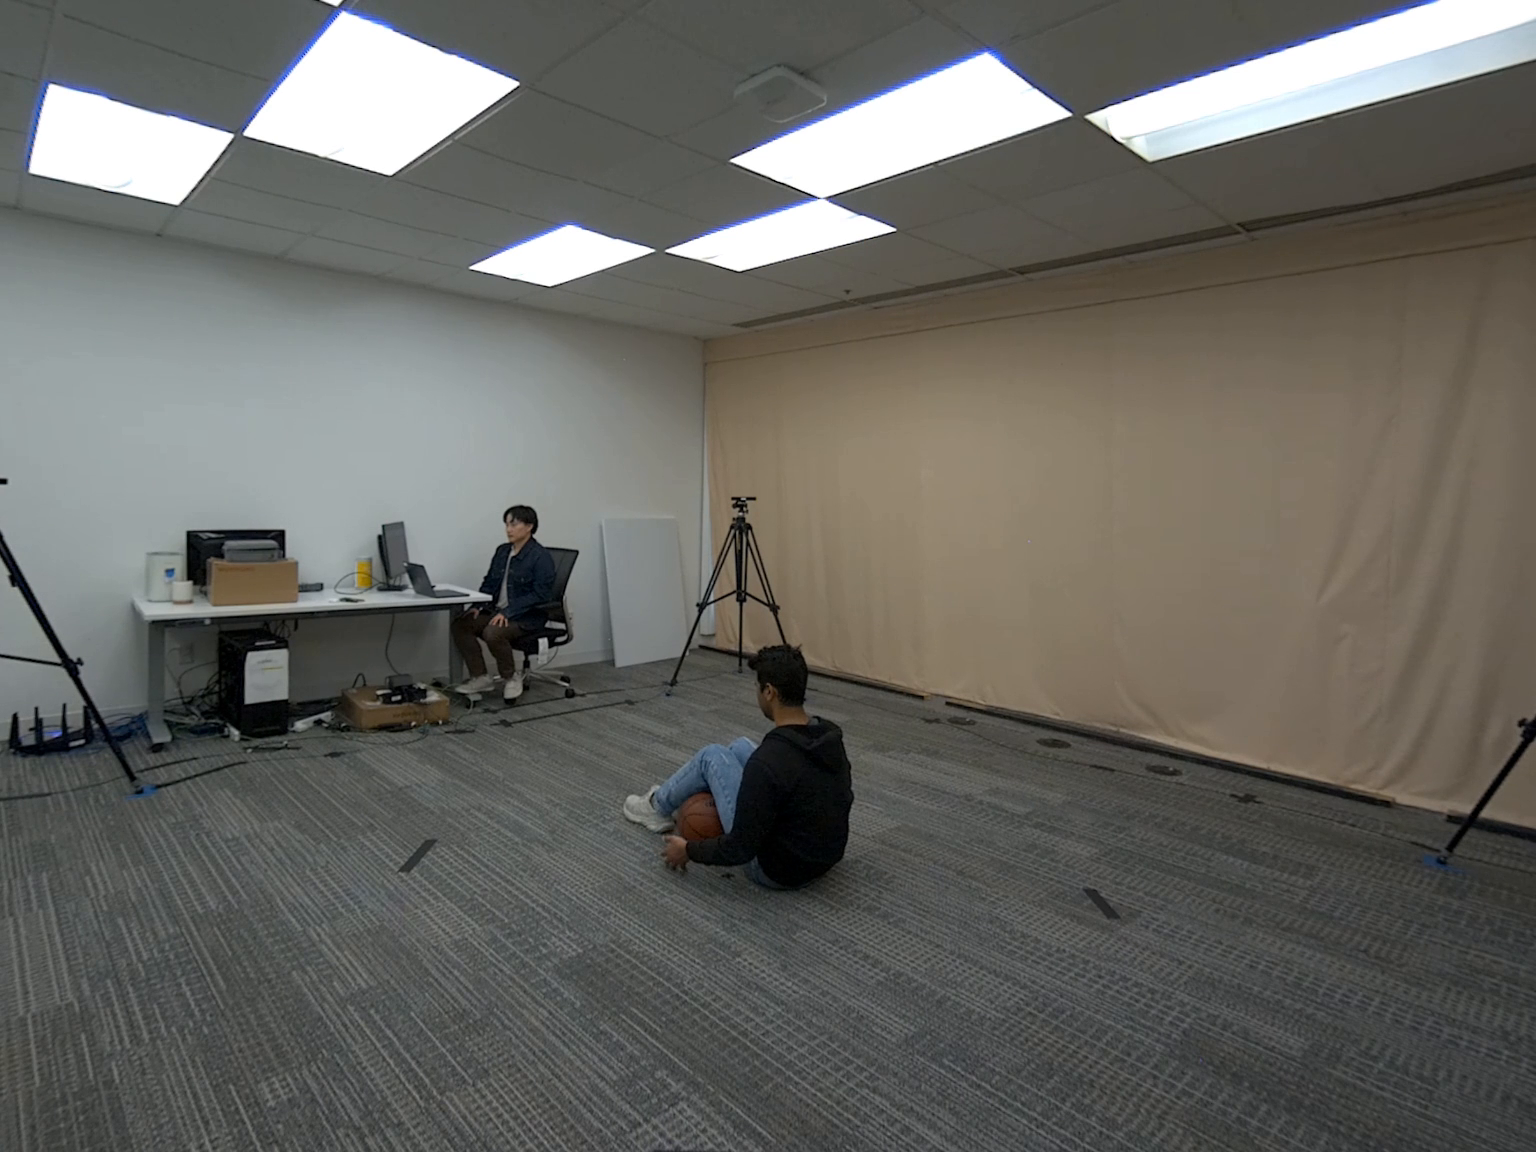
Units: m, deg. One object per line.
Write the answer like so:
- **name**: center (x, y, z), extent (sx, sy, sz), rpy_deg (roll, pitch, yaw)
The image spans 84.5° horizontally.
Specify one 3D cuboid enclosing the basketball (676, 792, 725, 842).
- **basketball**: center (-0.261, 0.959, 3.299), extent (0.236, 0.235, 0.237), rpy_deg (1, 4, -1)
